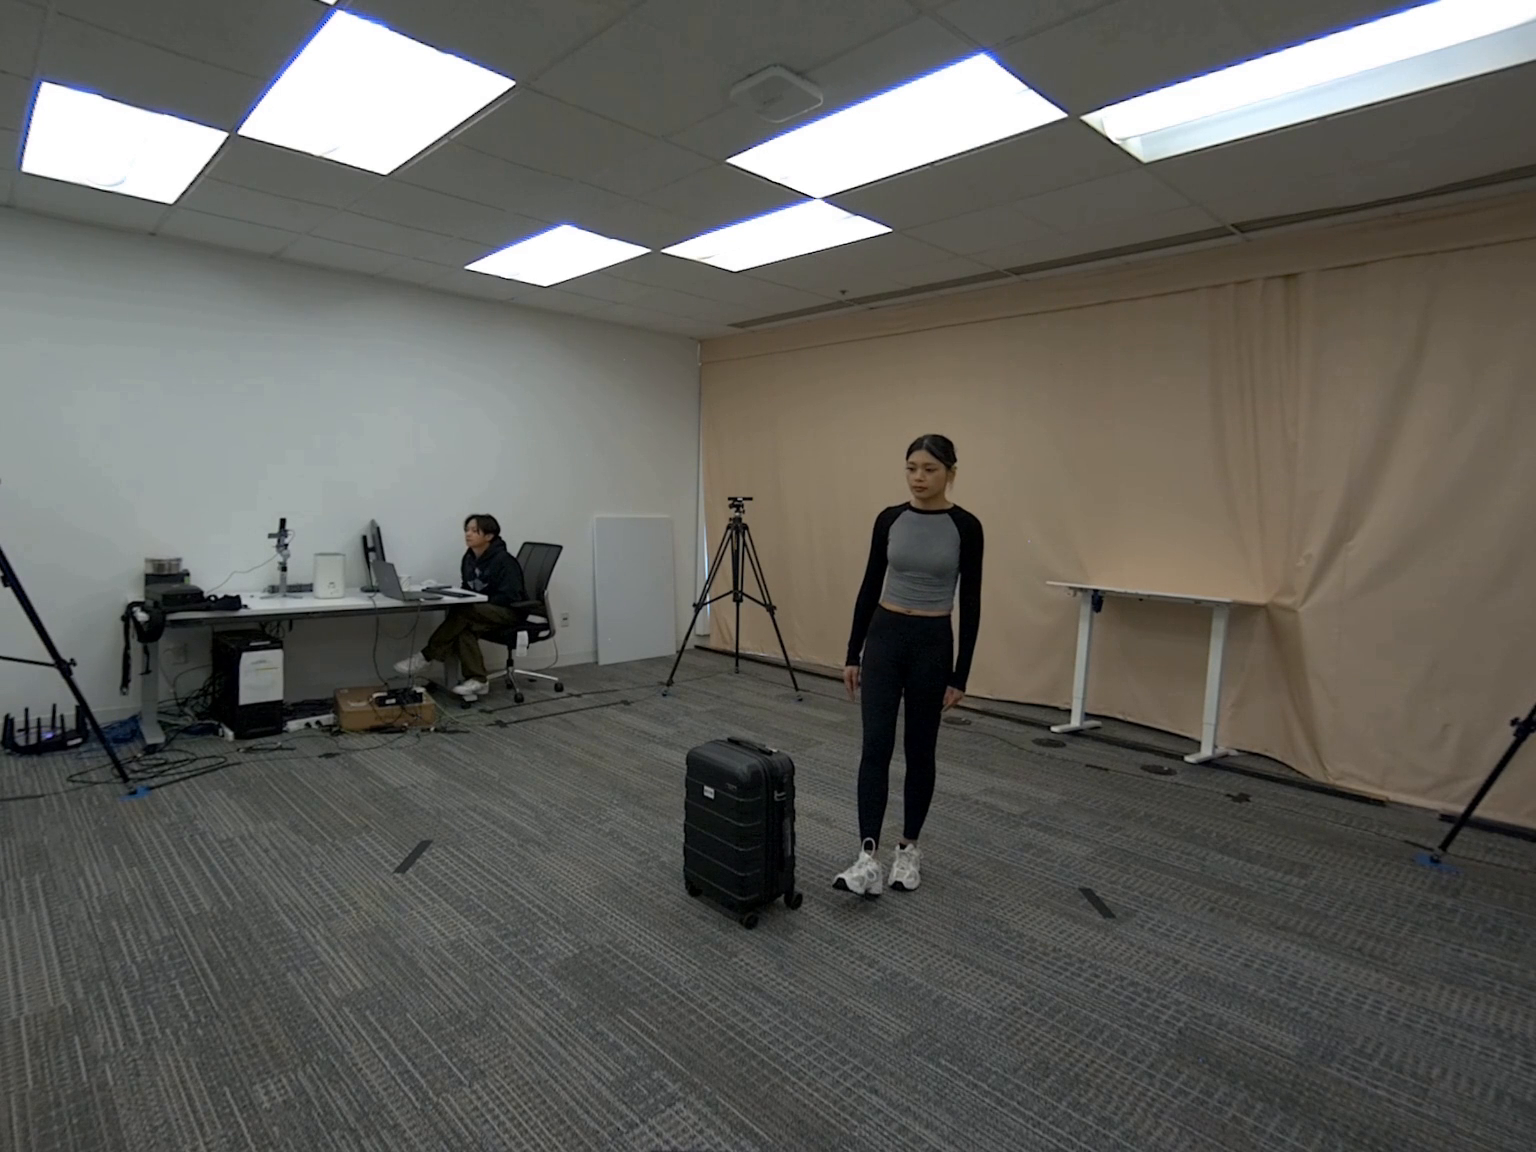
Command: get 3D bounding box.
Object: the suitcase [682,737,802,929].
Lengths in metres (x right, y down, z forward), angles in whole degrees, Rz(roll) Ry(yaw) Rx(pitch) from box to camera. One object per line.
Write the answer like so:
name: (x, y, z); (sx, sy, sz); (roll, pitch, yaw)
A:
suitcase: (-0.102, 0.853, 2.887); (0.243, 0.547, 0.385); (-5, 7, -42)
